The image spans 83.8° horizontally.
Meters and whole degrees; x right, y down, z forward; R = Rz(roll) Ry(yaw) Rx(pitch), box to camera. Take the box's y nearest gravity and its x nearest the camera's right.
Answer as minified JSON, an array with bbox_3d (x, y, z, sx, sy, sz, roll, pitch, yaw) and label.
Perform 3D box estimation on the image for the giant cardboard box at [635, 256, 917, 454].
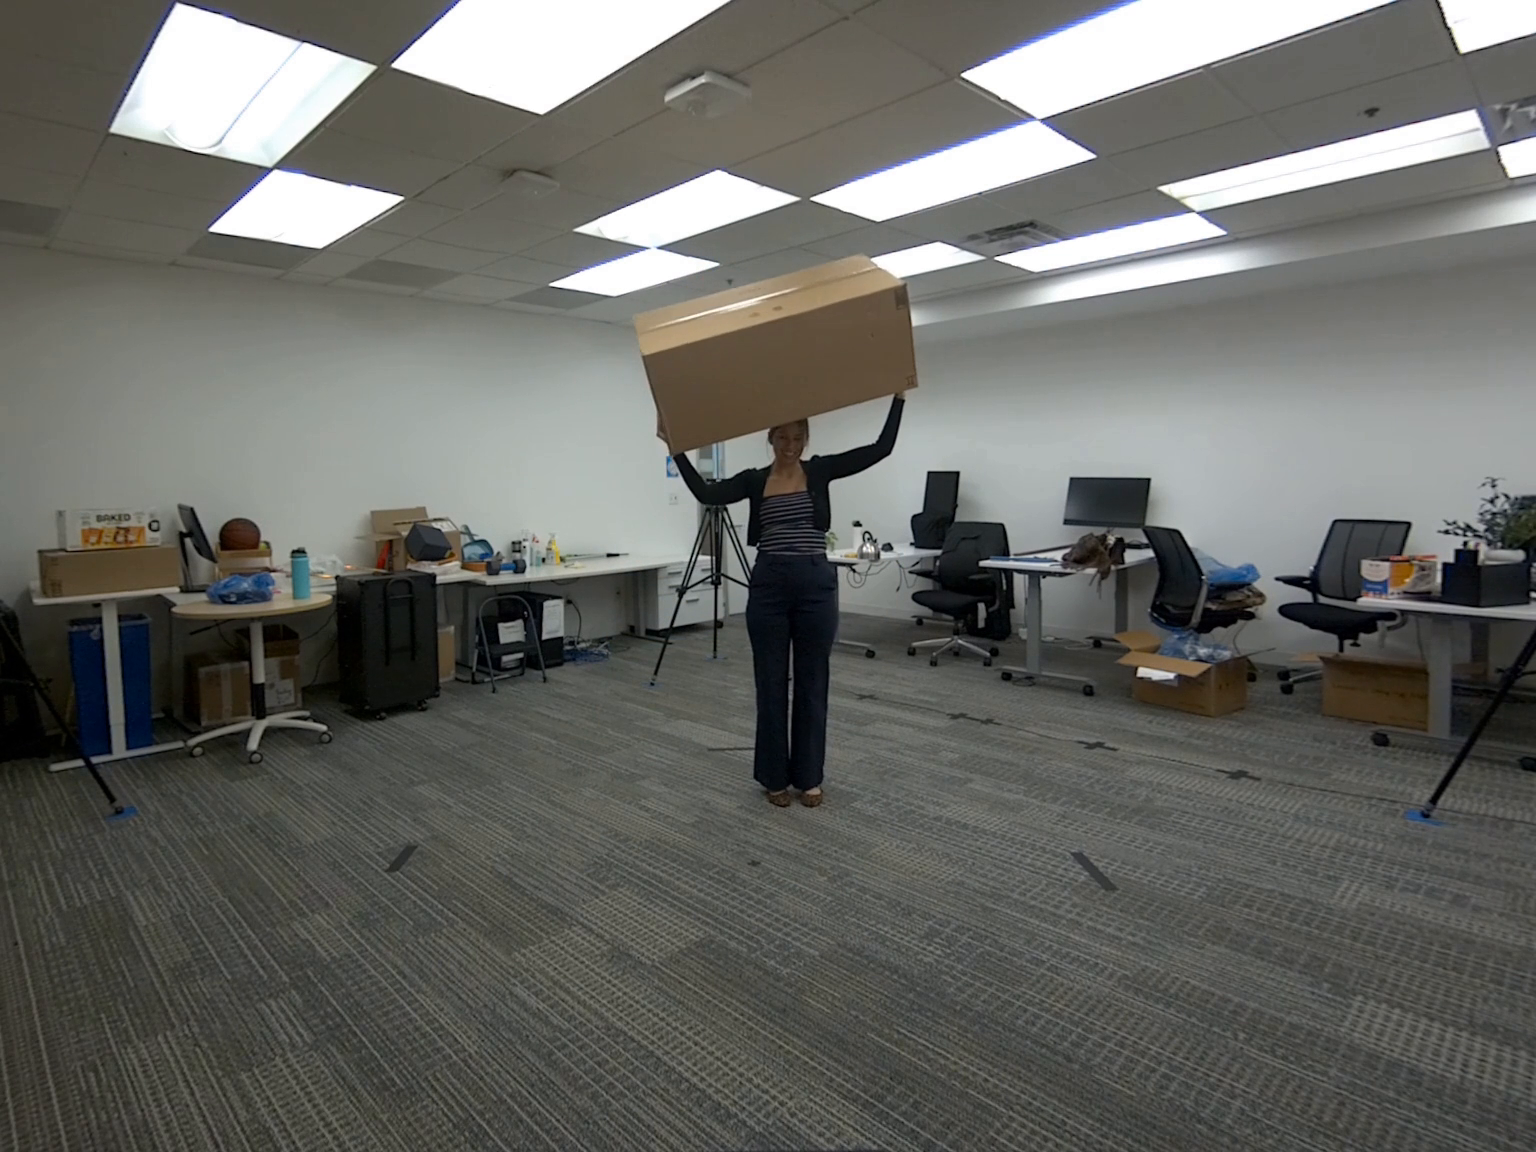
[{"bbox_3d":[0.007,-0.918,3.501,1.024,0.414,0.595,-16,31,-2],"label":"giant cardboard box"}]
